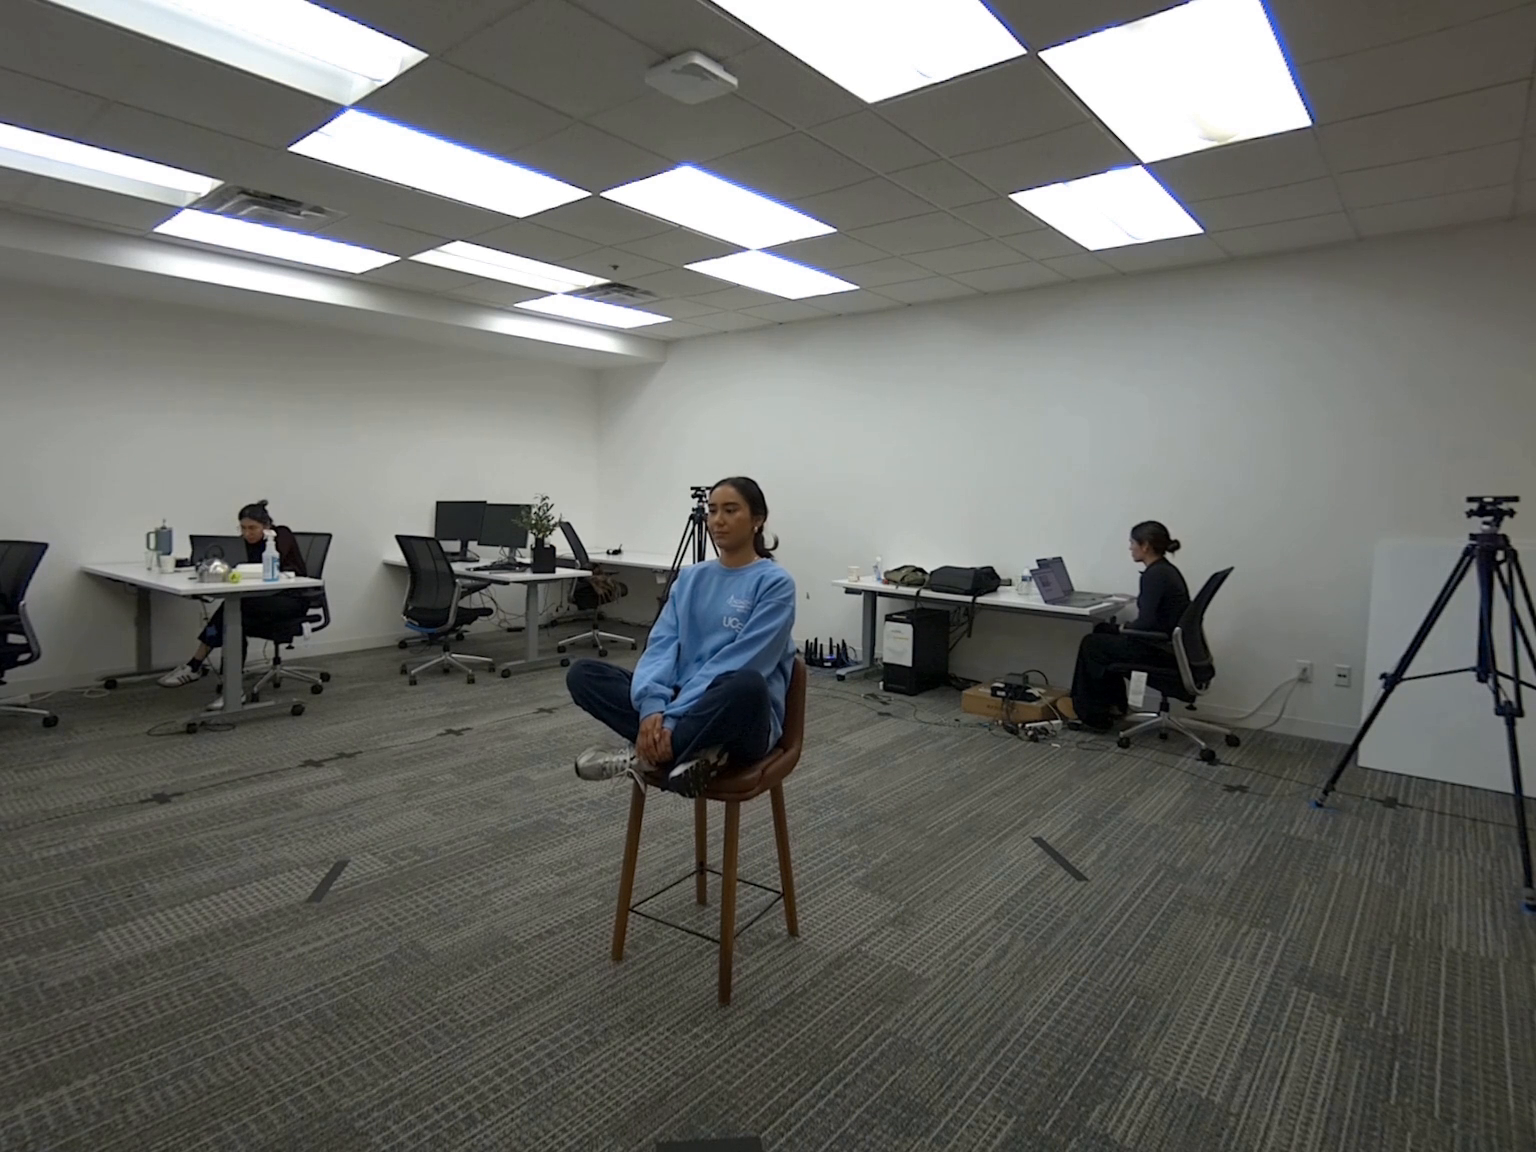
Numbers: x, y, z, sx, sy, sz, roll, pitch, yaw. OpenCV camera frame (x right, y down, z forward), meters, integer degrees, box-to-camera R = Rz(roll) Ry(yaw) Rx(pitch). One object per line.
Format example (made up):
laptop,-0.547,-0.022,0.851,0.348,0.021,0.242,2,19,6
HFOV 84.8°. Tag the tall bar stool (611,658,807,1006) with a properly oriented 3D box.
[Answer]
tall bar stool,-0.169,0.686,2.557,0.470,0.888,0.454,4,2,32
